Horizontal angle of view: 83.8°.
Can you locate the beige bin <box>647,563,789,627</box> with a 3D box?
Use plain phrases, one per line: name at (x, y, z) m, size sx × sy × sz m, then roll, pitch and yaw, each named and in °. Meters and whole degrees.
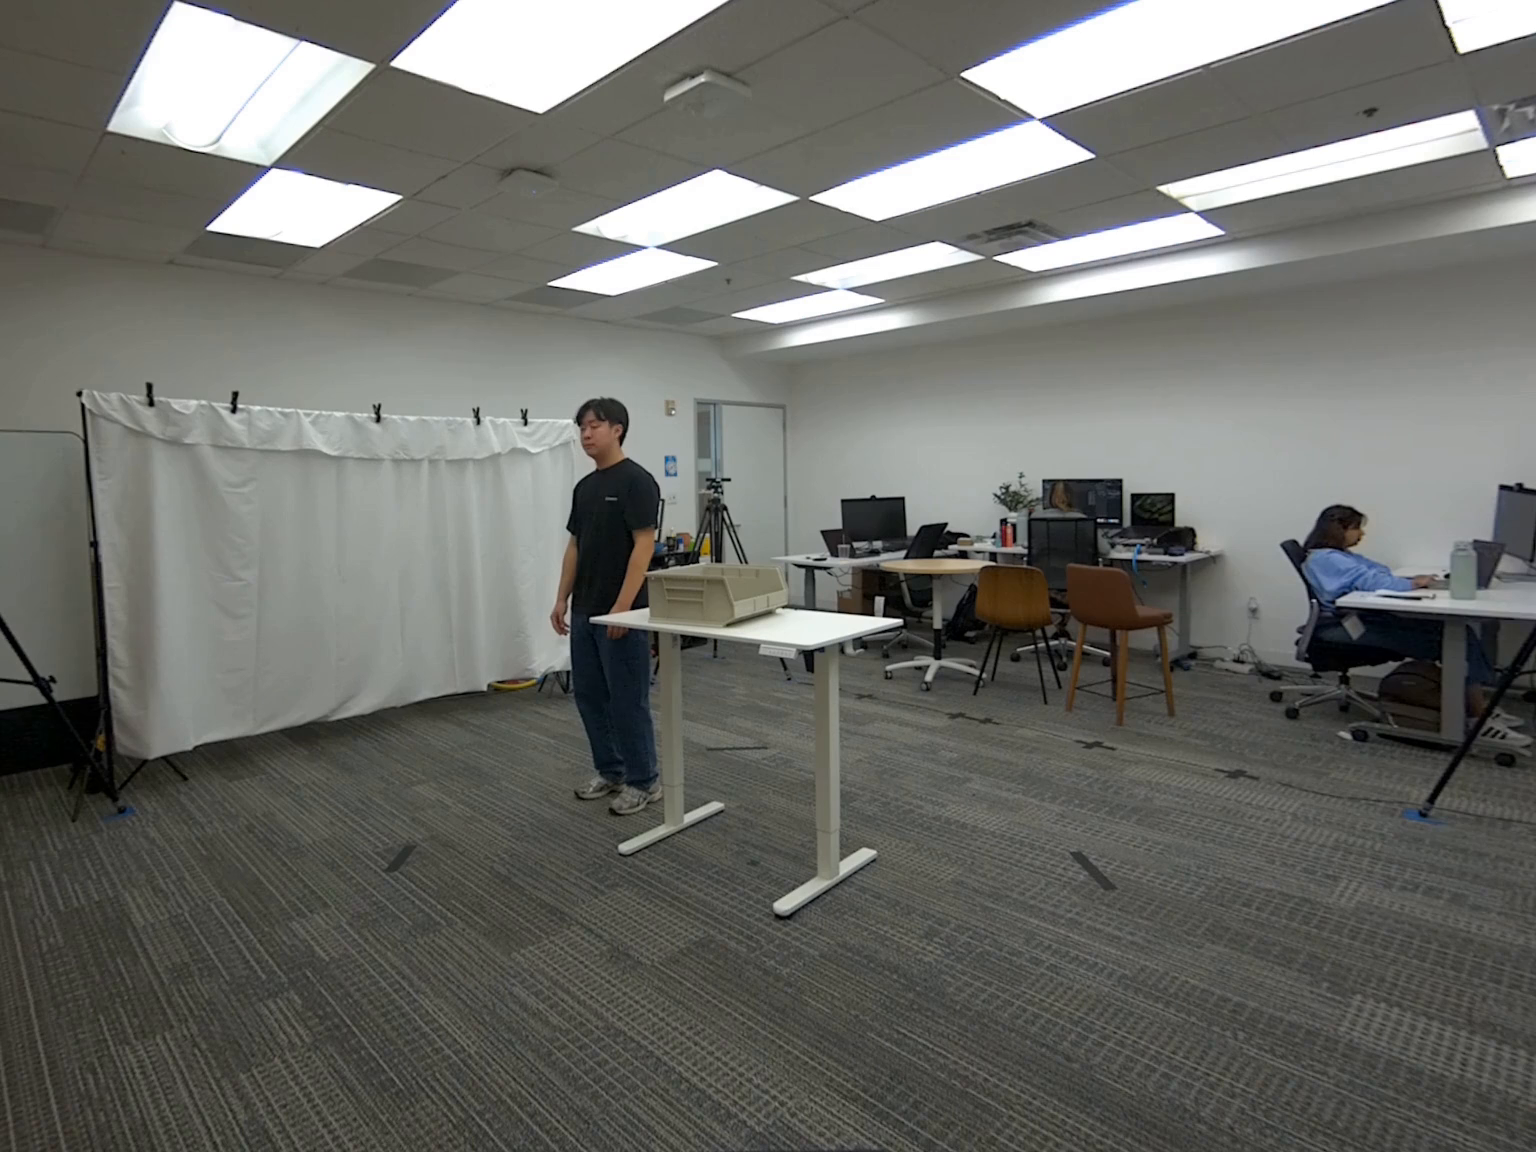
beige bin at (-0.184, 0.069, 3.167) m, size 0.387 × 0.188 × 0.413 m, roll 1°, pitch 6°, yaw 30°
